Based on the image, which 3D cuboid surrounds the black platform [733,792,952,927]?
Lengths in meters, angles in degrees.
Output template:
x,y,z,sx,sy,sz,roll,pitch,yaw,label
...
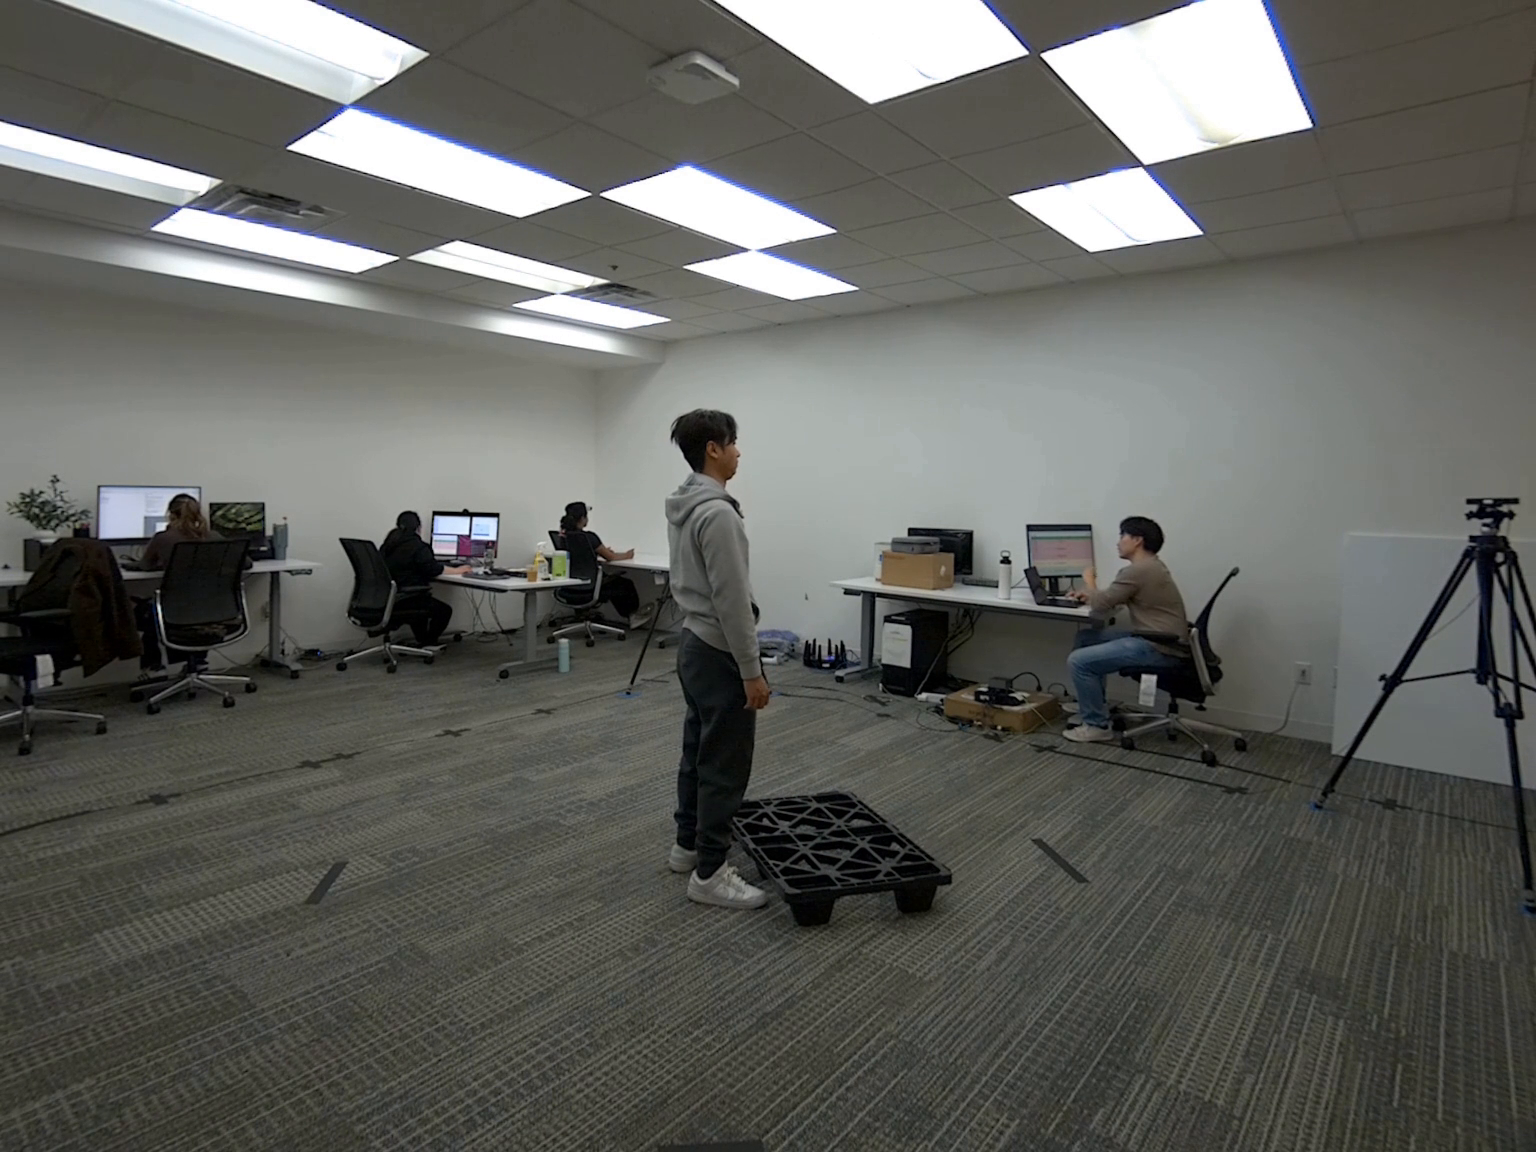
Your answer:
x,y,z,sx,sy,sz,roll,pitch,yaw,label
0.193,1.006,3.116,0.594,0.143,0.824,0,6,-19,black platform
